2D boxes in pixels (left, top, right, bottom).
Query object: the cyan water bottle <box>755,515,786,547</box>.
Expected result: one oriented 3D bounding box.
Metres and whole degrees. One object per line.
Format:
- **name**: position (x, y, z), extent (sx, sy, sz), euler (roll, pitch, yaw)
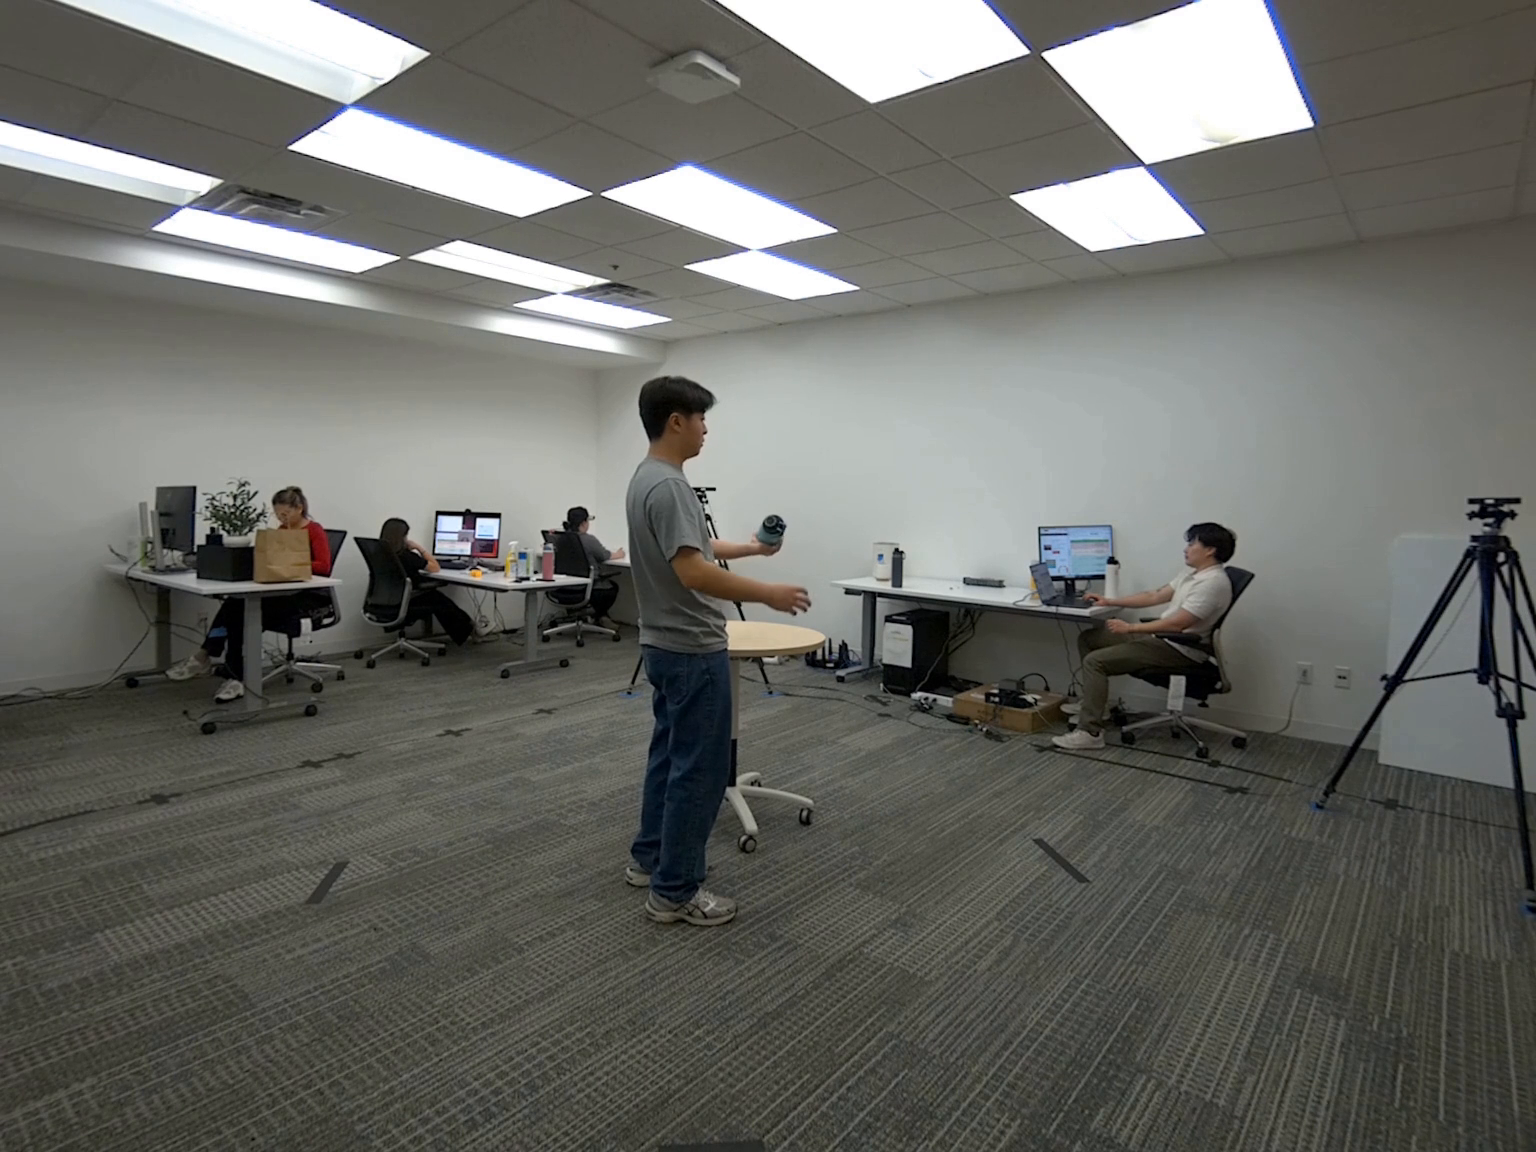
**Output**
- **cyan water bottle**: position (-0.010, -0.157, 3.217), extent (0.091, 0.094, 0.281), euler (1, -15, -10)
